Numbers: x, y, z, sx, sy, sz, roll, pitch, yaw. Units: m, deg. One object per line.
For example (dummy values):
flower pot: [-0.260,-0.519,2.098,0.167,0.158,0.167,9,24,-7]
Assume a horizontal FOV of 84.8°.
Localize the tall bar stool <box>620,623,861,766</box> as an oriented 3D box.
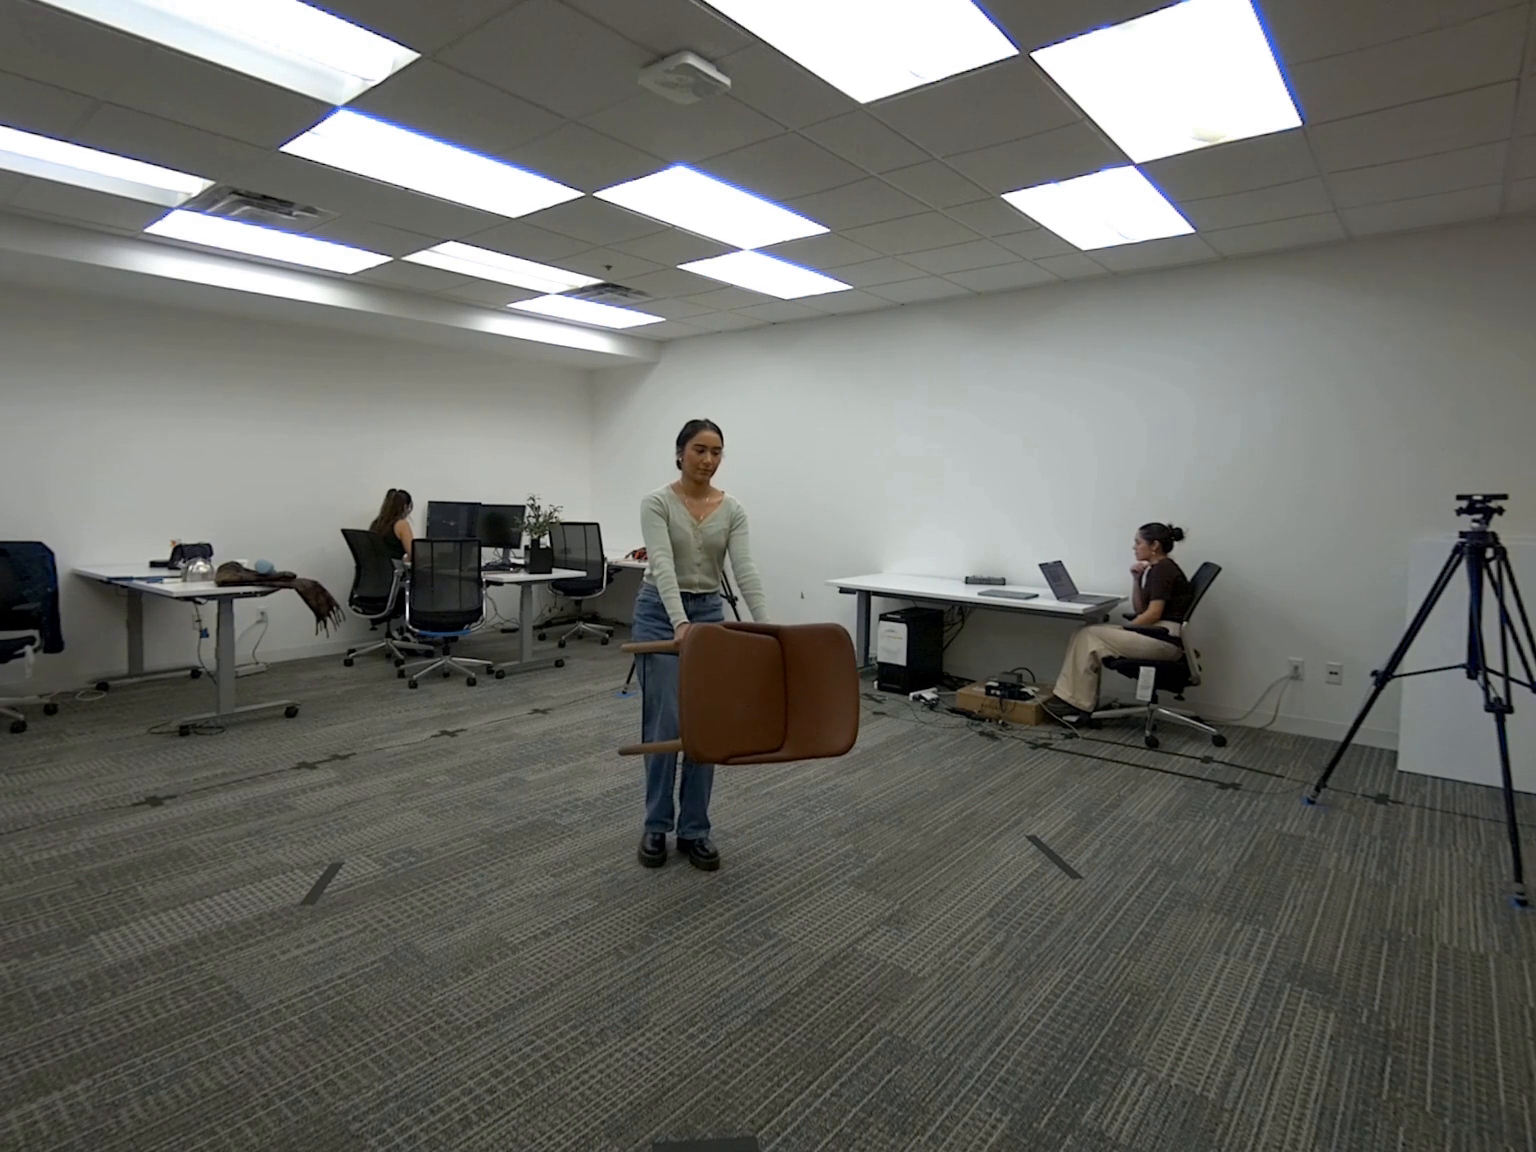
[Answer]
tall bar stool: [-0.154,0.404,2.904,0.454,0.462,0.905,7,-13,-29]
